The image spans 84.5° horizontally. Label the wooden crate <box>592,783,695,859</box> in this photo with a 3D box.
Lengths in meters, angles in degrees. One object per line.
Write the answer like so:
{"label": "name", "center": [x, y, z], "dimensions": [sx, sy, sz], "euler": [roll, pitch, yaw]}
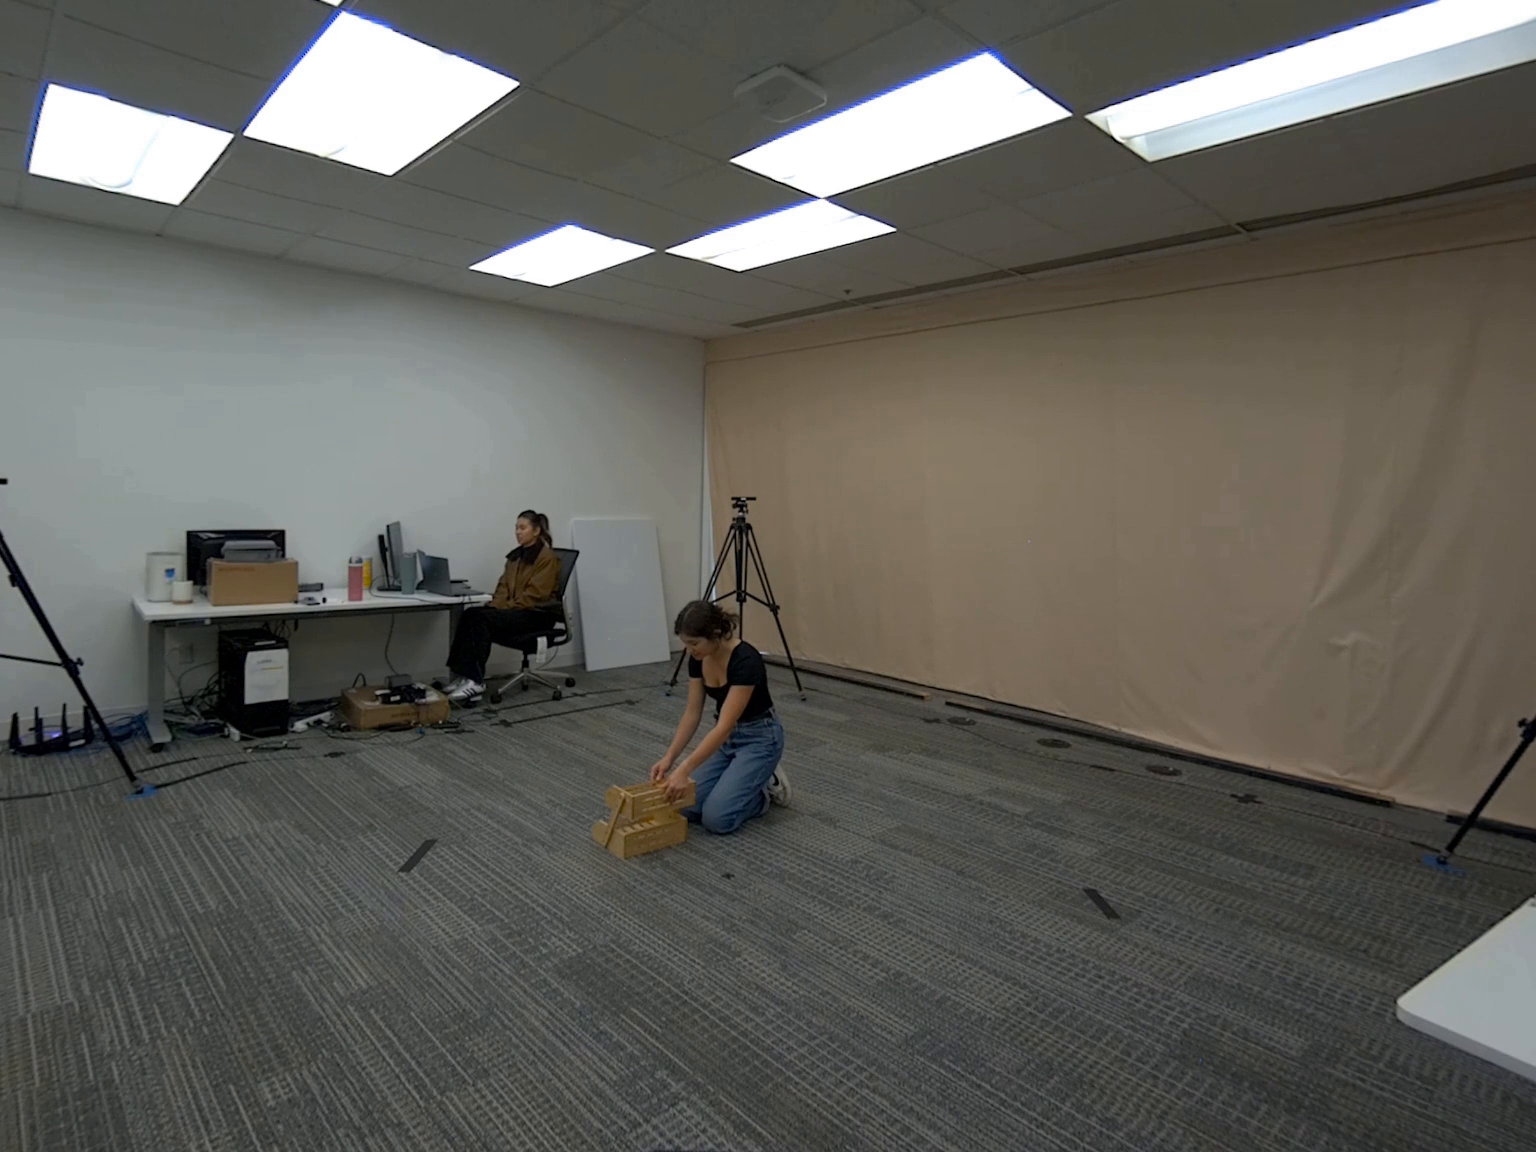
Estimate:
{"label": "wooden crate", "center": [-0.513, 0.938, 3.390], "dimensions": [0.317, 0.272, 0.310], "euler": [-2, 6, -41]}
